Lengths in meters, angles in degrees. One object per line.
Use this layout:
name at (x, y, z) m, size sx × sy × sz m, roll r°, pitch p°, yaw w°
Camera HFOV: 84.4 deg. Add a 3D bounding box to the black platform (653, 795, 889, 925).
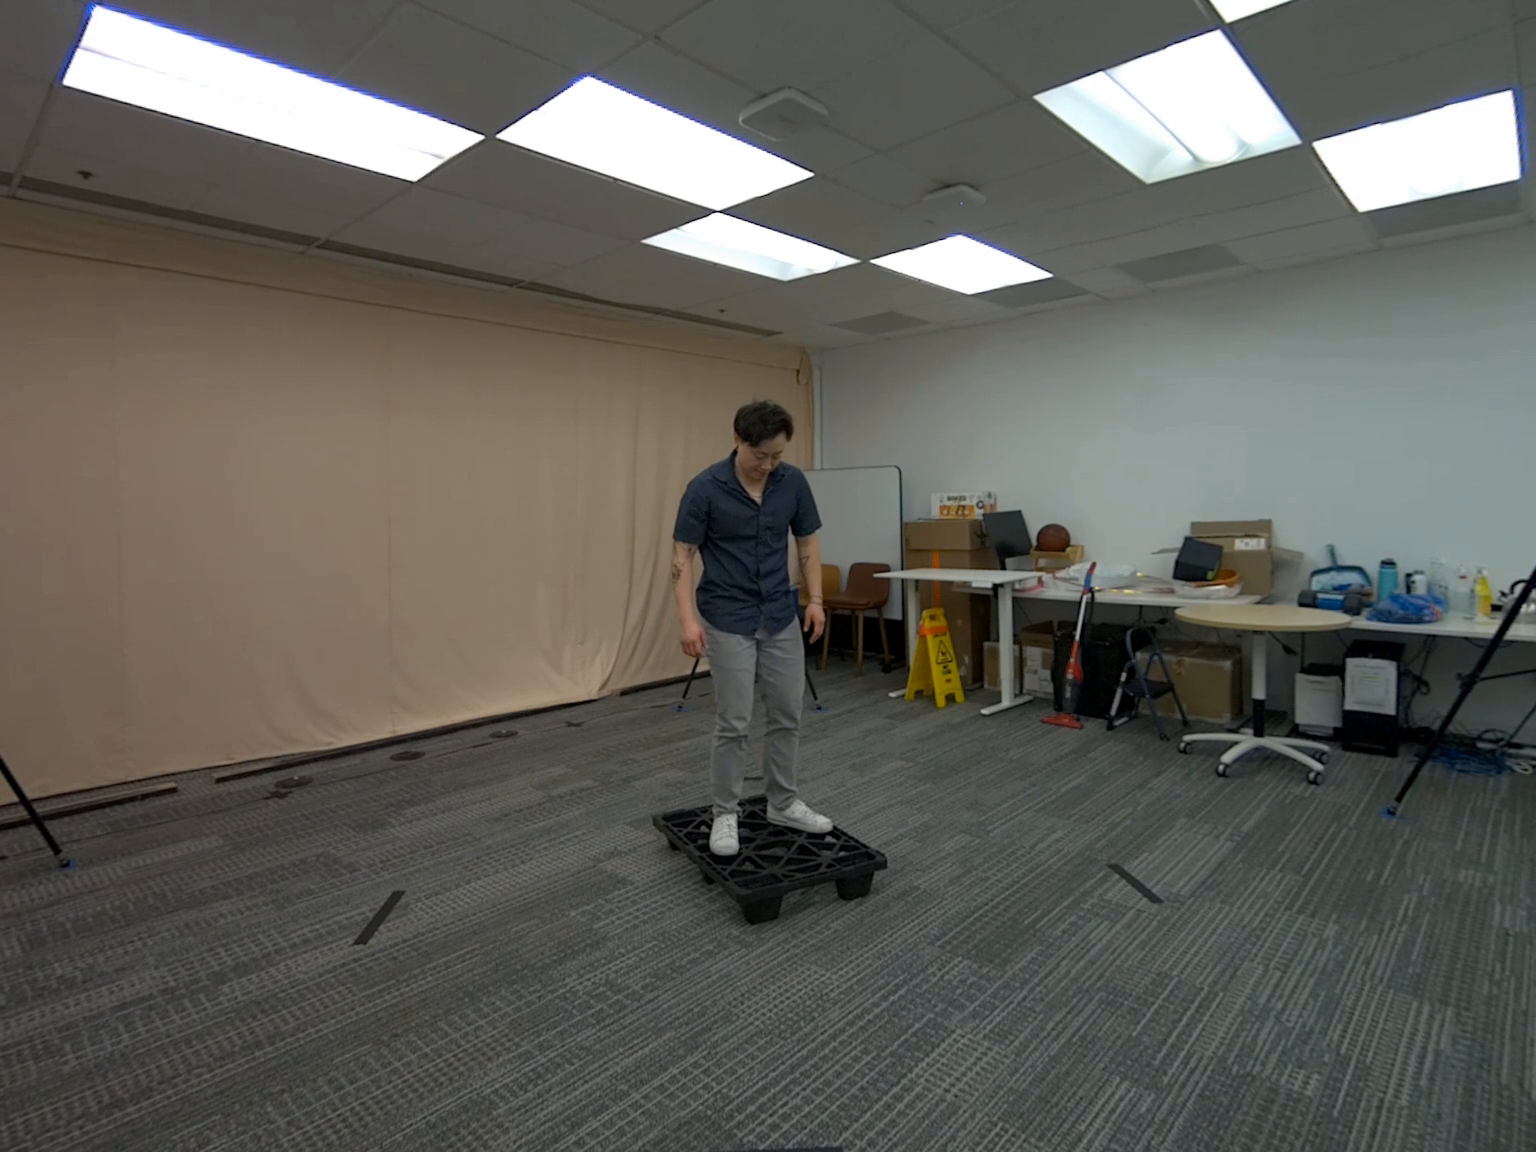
black platform at (-0.018, 1.051, 3.216) m, size 0.590 × 0.143 × 0.827 m, roll -3°, pitch 5°, yaw -27°
